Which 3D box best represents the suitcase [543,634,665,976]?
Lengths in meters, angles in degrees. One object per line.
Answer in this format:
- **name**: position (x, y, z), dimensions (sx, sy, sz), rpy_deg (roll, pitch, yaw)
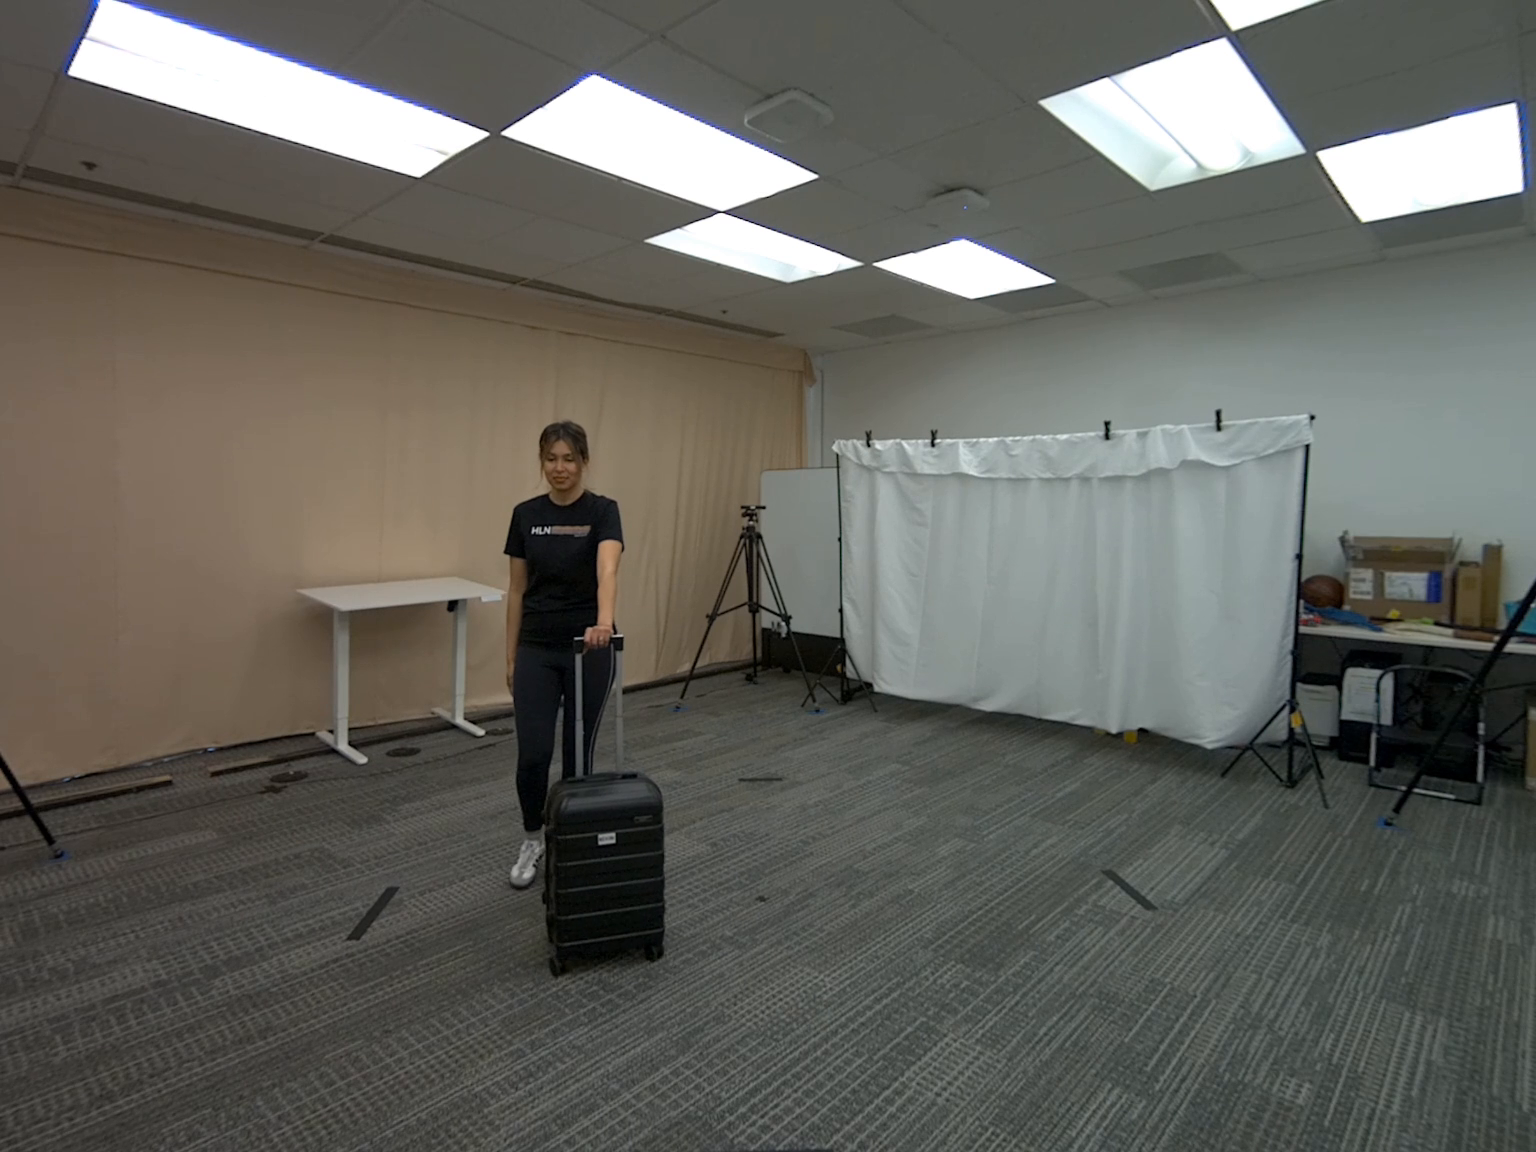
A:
- **suitcase**: position (-0.503, 0.702, 2.607), dimensions (0.378, 0.975, 0.262), rpy_deg (0, 6, -15)
